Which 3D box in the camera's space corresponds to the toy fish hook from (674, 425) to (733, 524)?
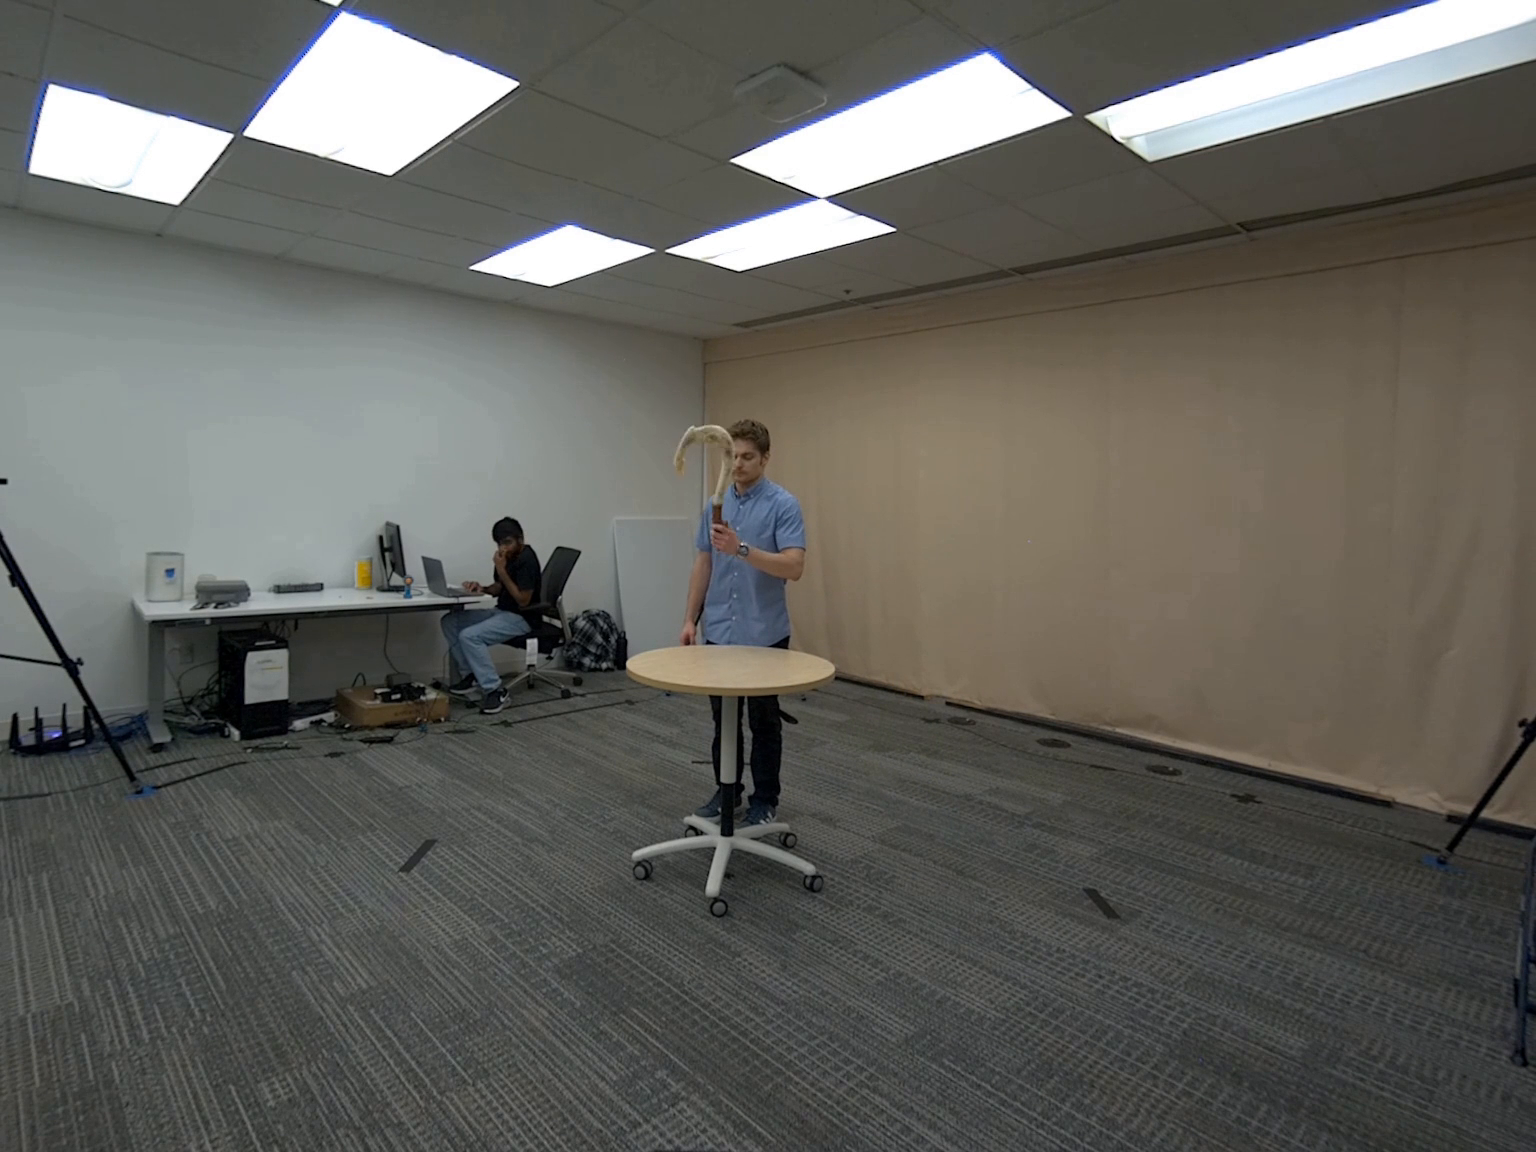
[{"bbox_3d":[-0.256,-0.301,3.151,0.224,0.498,0.049,-3,25,-6],"label":"toy fish hook"}]
